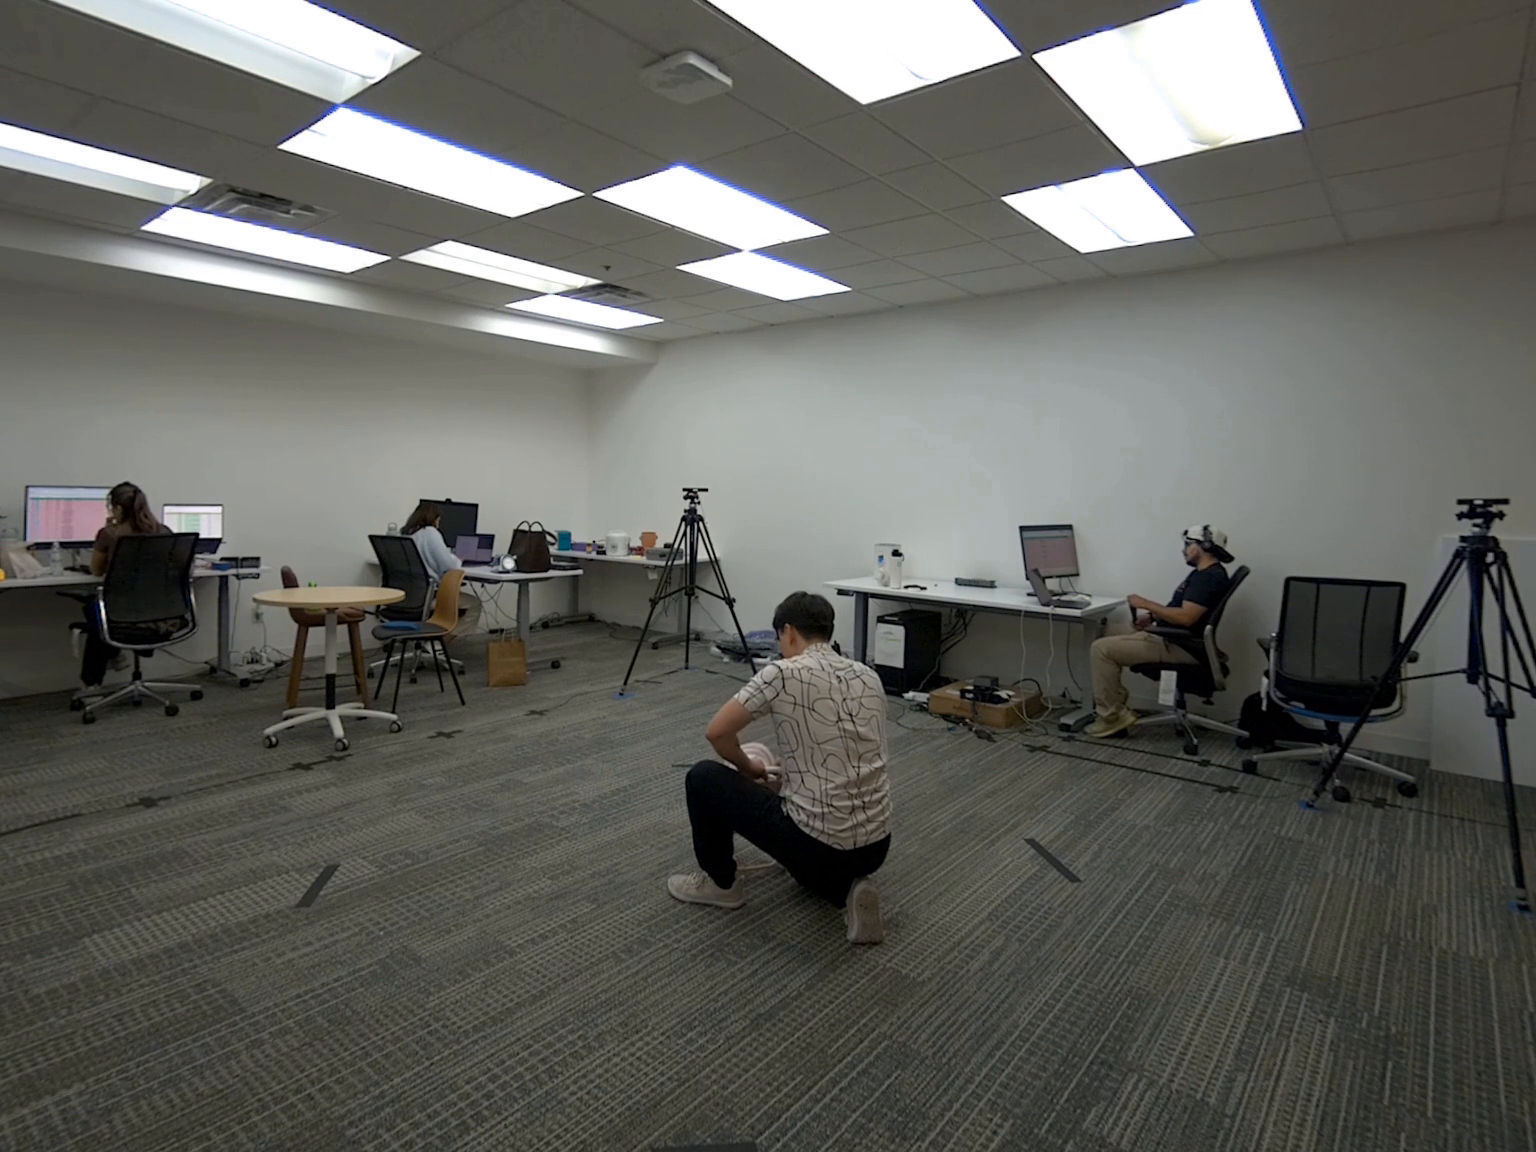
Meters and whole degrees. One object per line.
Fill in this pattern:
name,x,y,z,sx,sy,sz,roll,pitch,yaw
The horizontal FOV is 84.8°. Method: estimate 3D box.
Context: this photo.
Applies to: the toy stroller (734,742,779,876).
toy stroller,-0.091,0.837,3.136,0.276,0.527,0.353,1,18,-19
